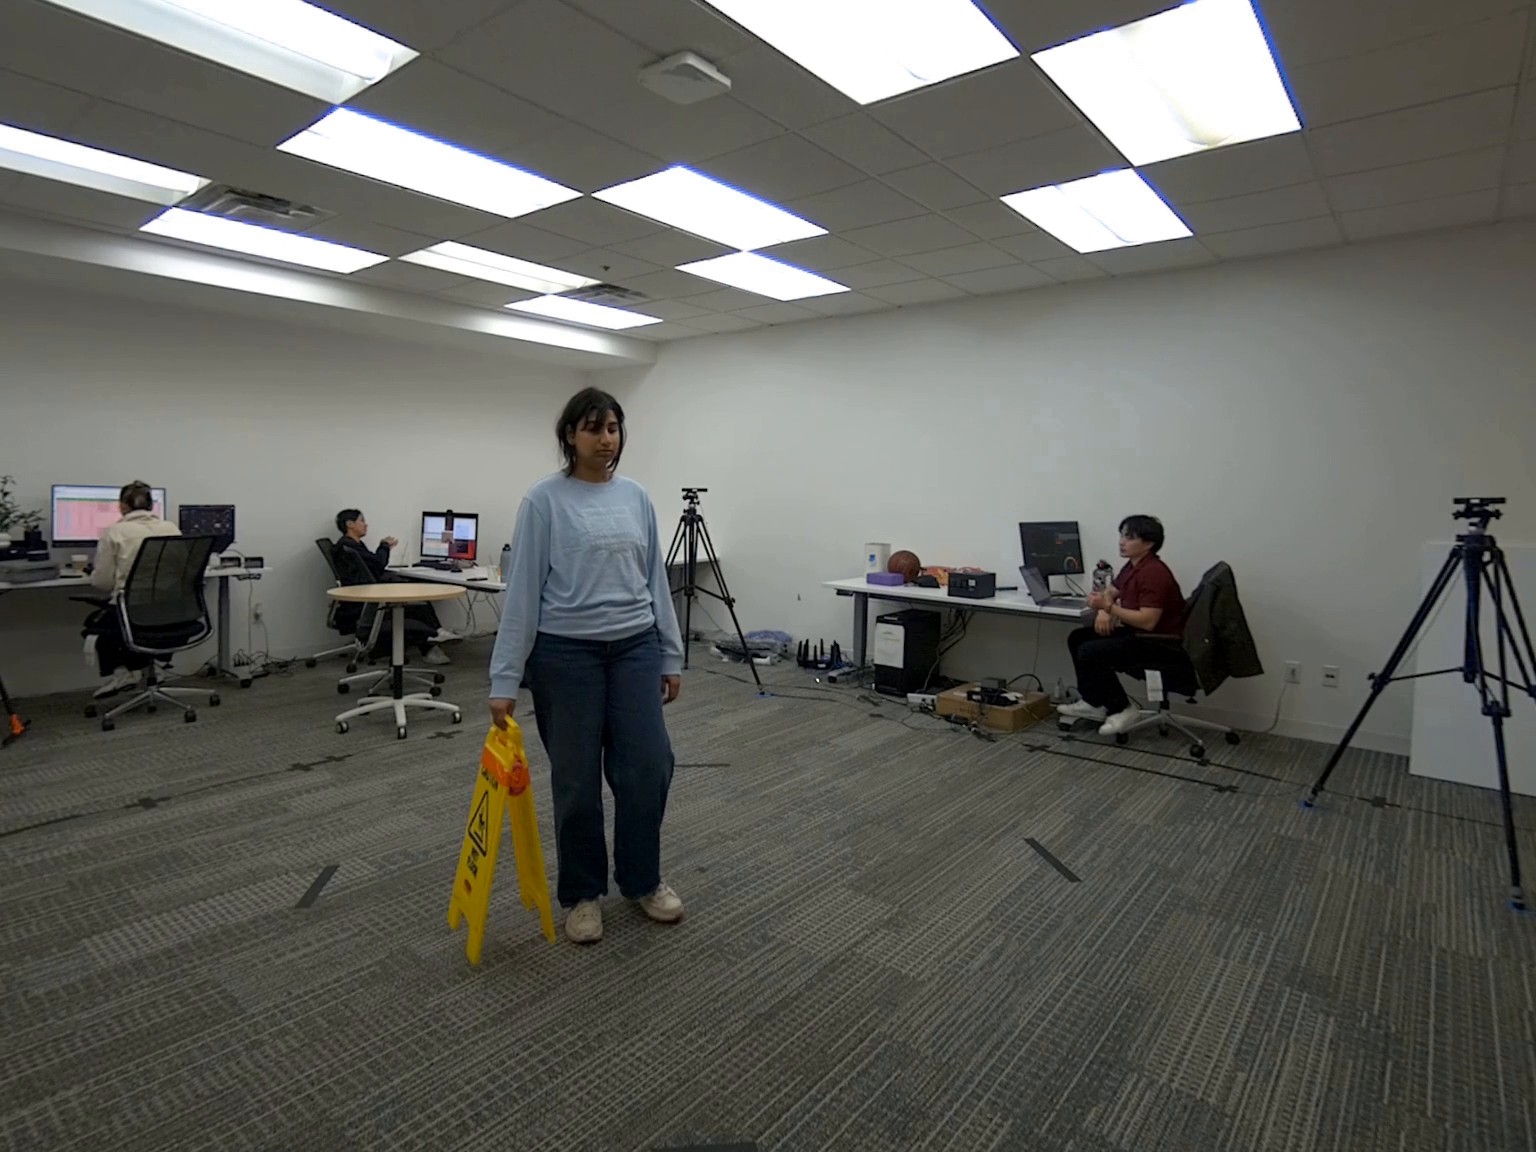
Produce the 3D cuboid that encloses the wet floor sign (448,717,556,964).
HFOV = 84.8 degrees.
[{"bbox_3d":[-0.786,0.726,2.488,0.281,0.643,0.291,-1,6,-33],"label":"wet floor sign"}]
